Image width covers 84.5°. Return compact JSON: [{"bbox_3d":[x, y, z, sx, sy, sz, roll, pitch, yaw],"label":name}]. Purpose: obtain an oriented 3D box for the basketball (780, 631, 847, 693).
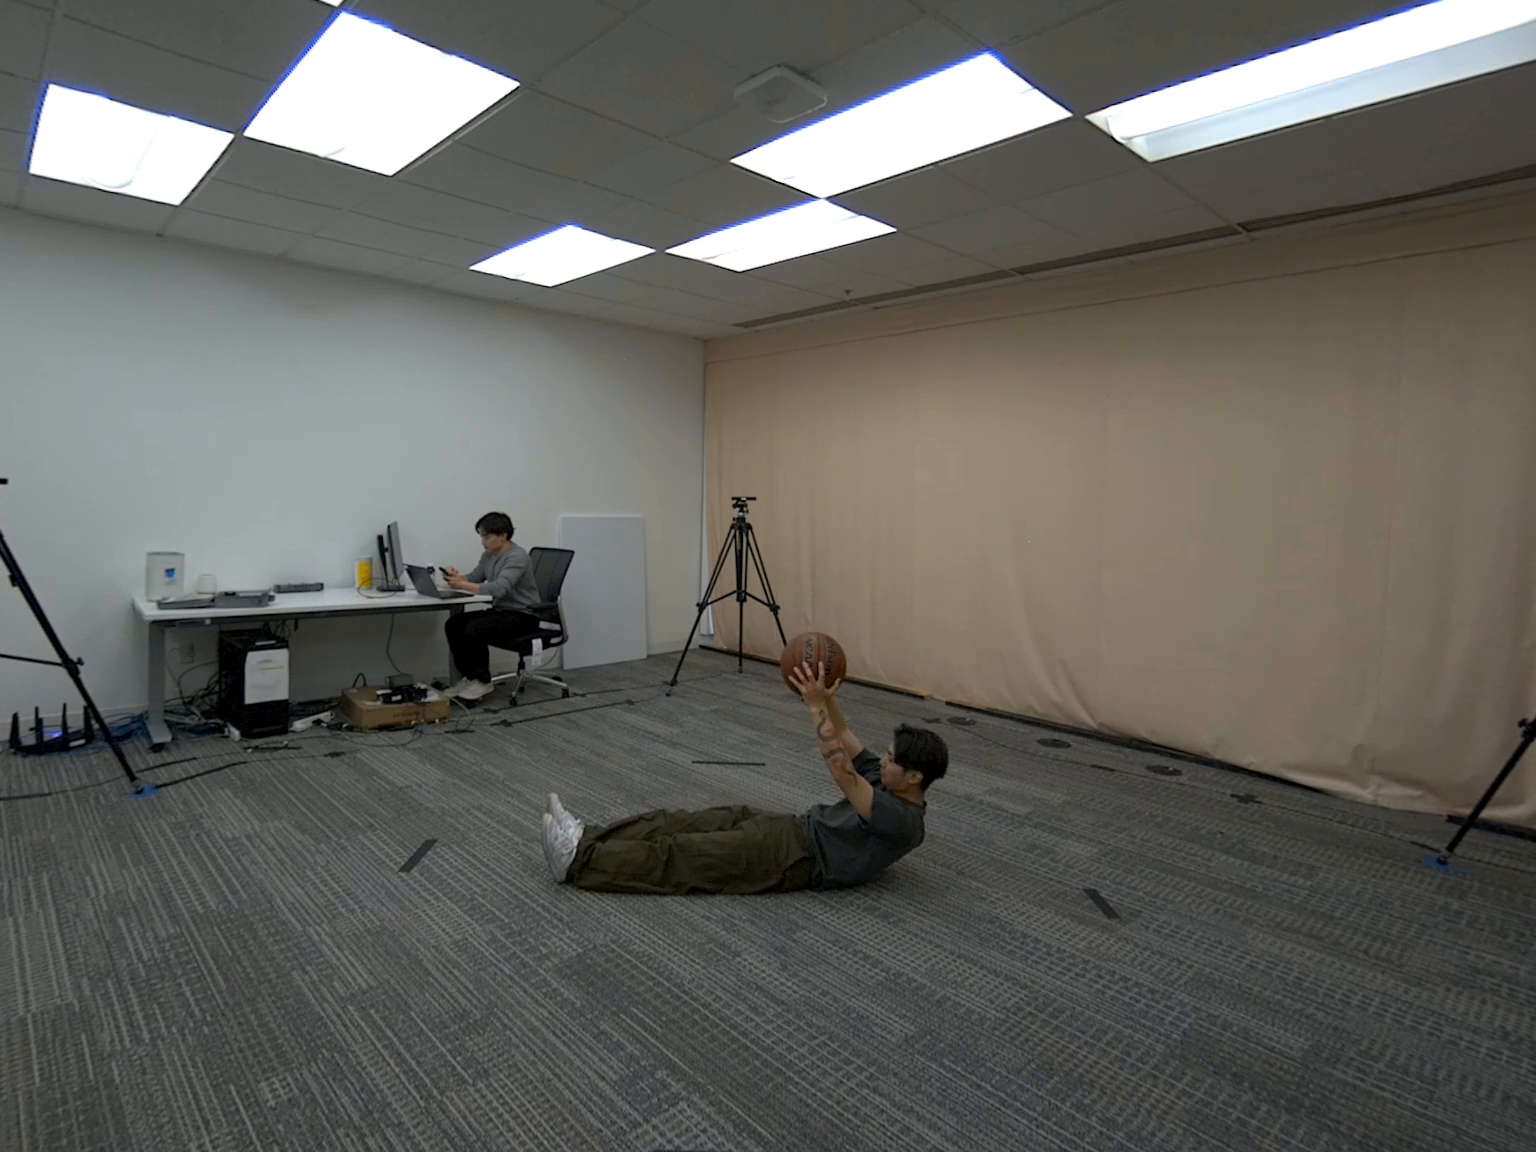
[{"bbox_3d":[0.160,0.323,3.035,0.236,0.235,0.237,1,4,-1],"label":"basketball"}]
